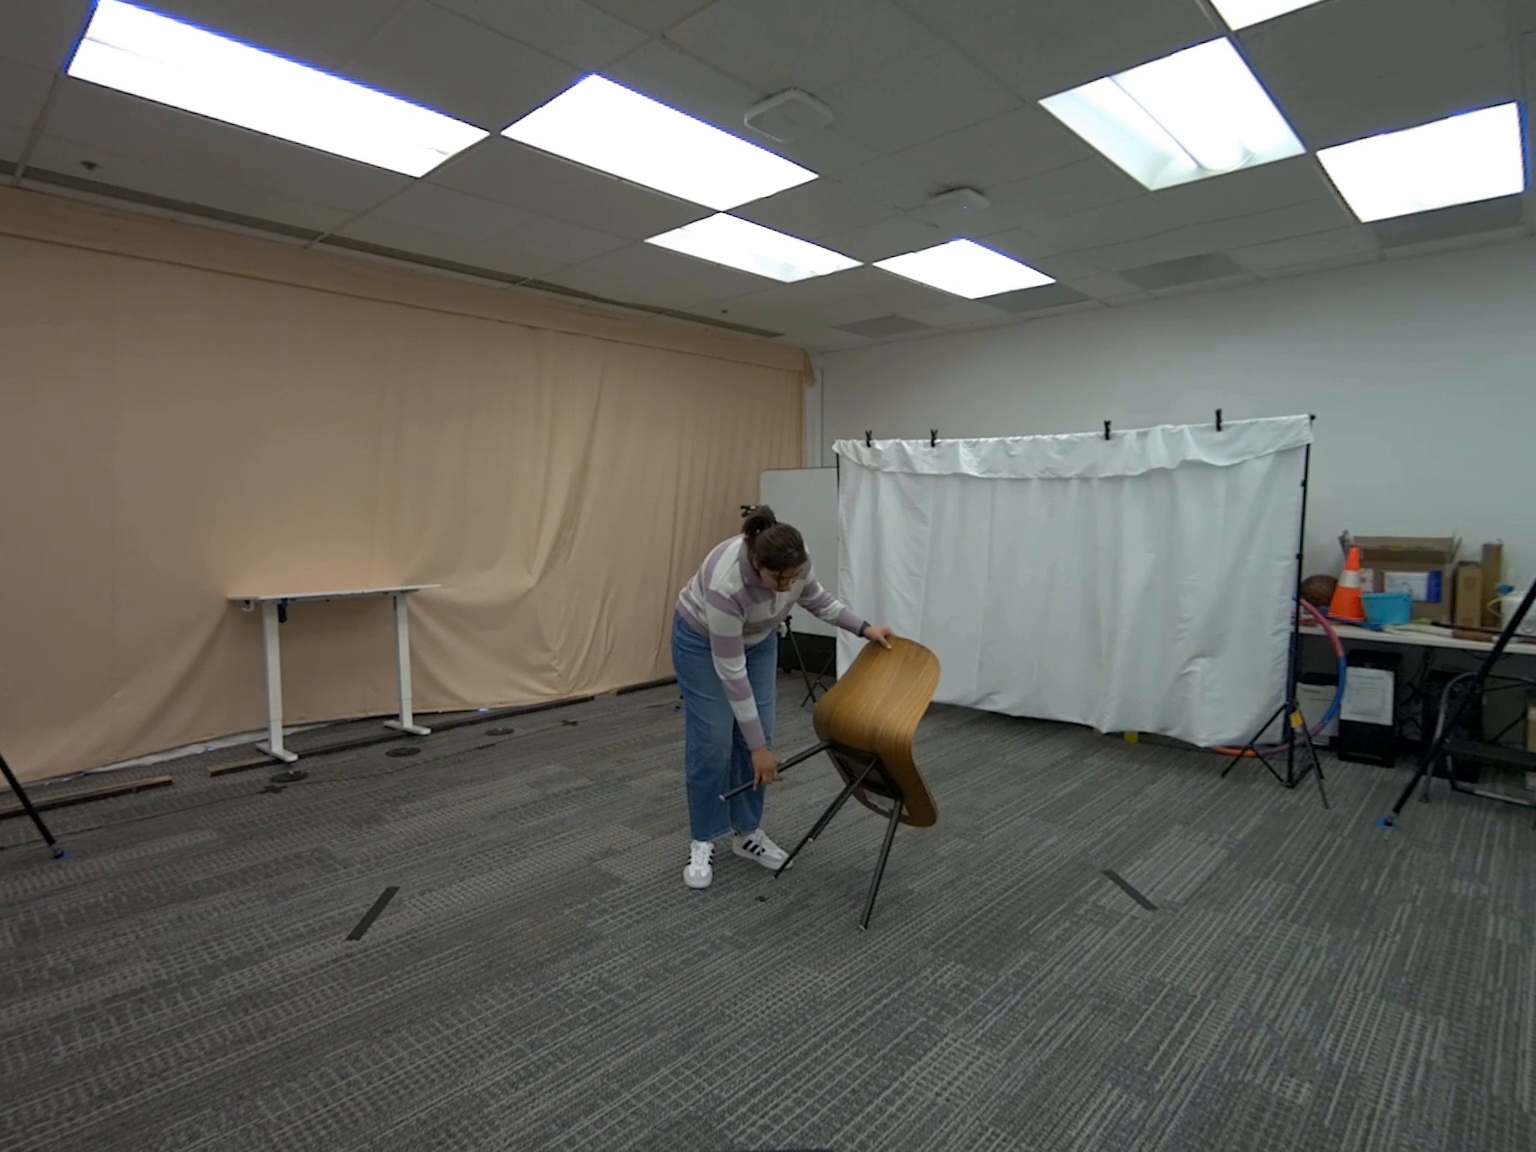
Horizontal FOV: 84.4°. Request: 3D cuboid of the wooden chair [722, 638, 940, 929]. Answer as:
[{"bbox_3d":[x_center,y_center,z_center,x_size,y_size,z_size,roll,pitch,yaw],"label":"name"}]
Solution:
[{"bbox_3d":[0.353,0.707,3.031,0.494,0.509,0.871,6,46,49],"label":"wooden chair"}]
